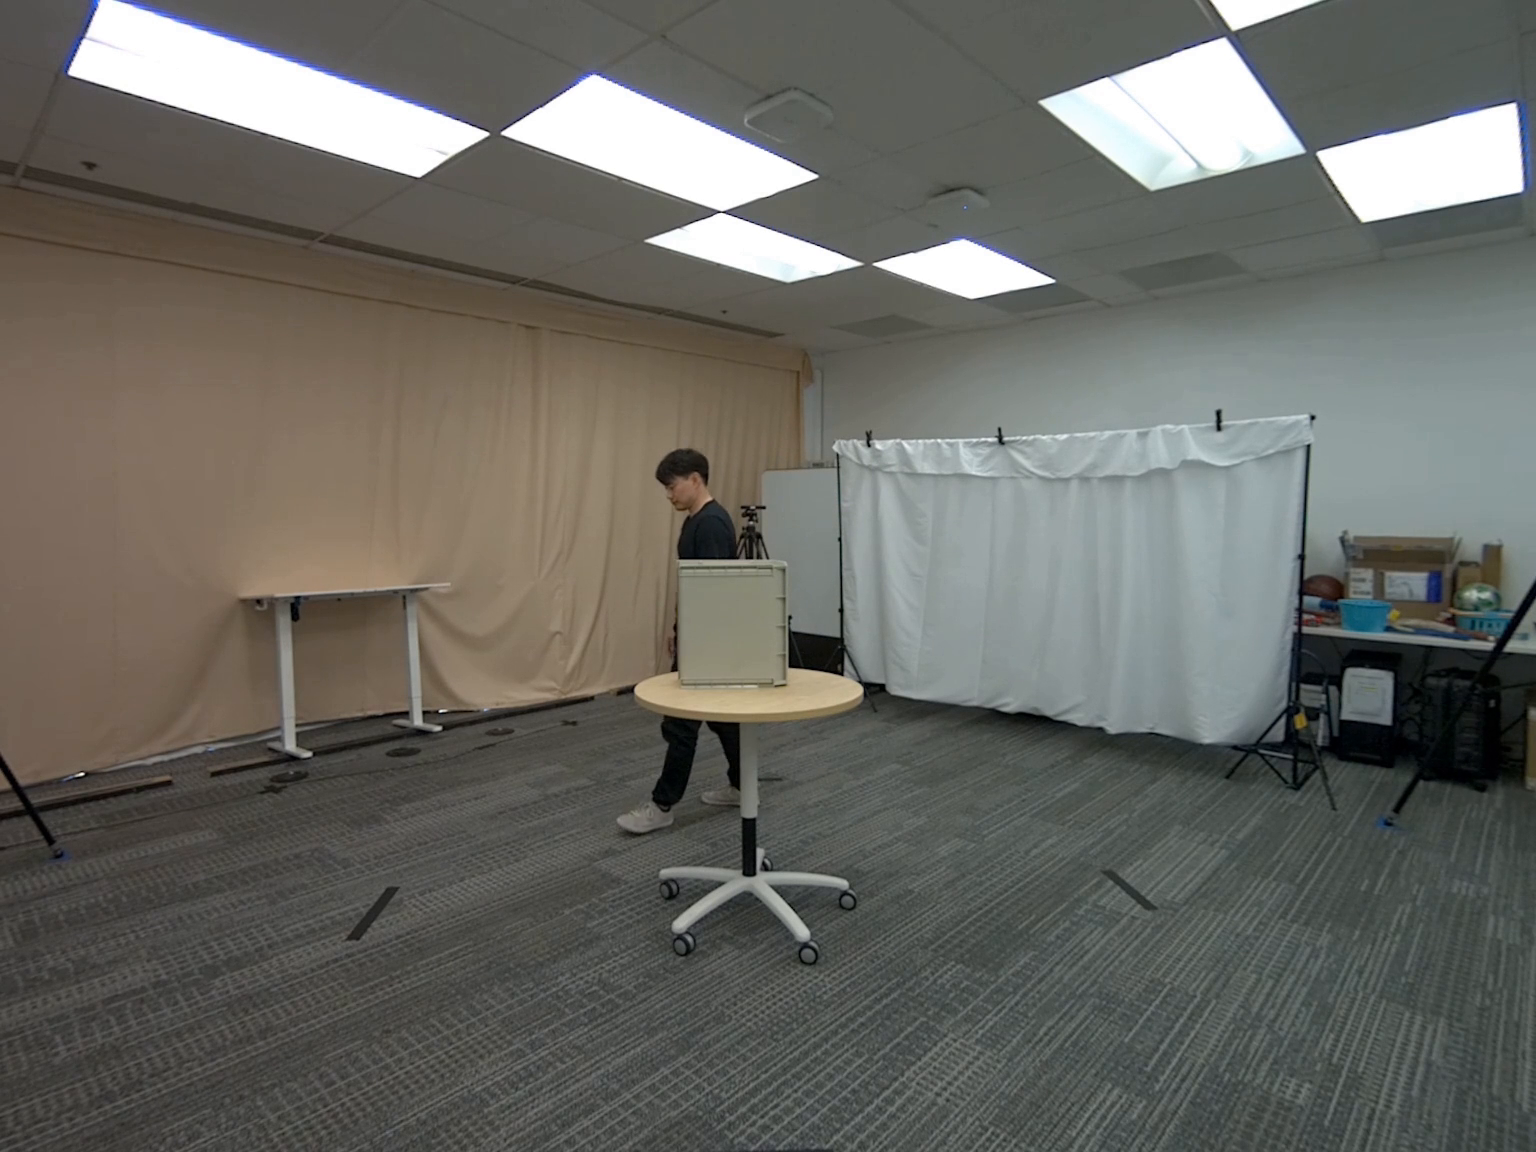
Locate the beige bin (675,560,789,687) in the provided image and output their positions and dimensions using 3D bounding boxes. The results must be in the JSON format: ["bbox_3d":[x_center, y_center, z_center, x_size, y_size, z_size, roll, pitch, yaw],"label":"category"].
[{"bbox_3d":[-0.117,0.160,2.894,0.378,0.421,0.189,0,5,1],"label":"beige bin"}]
